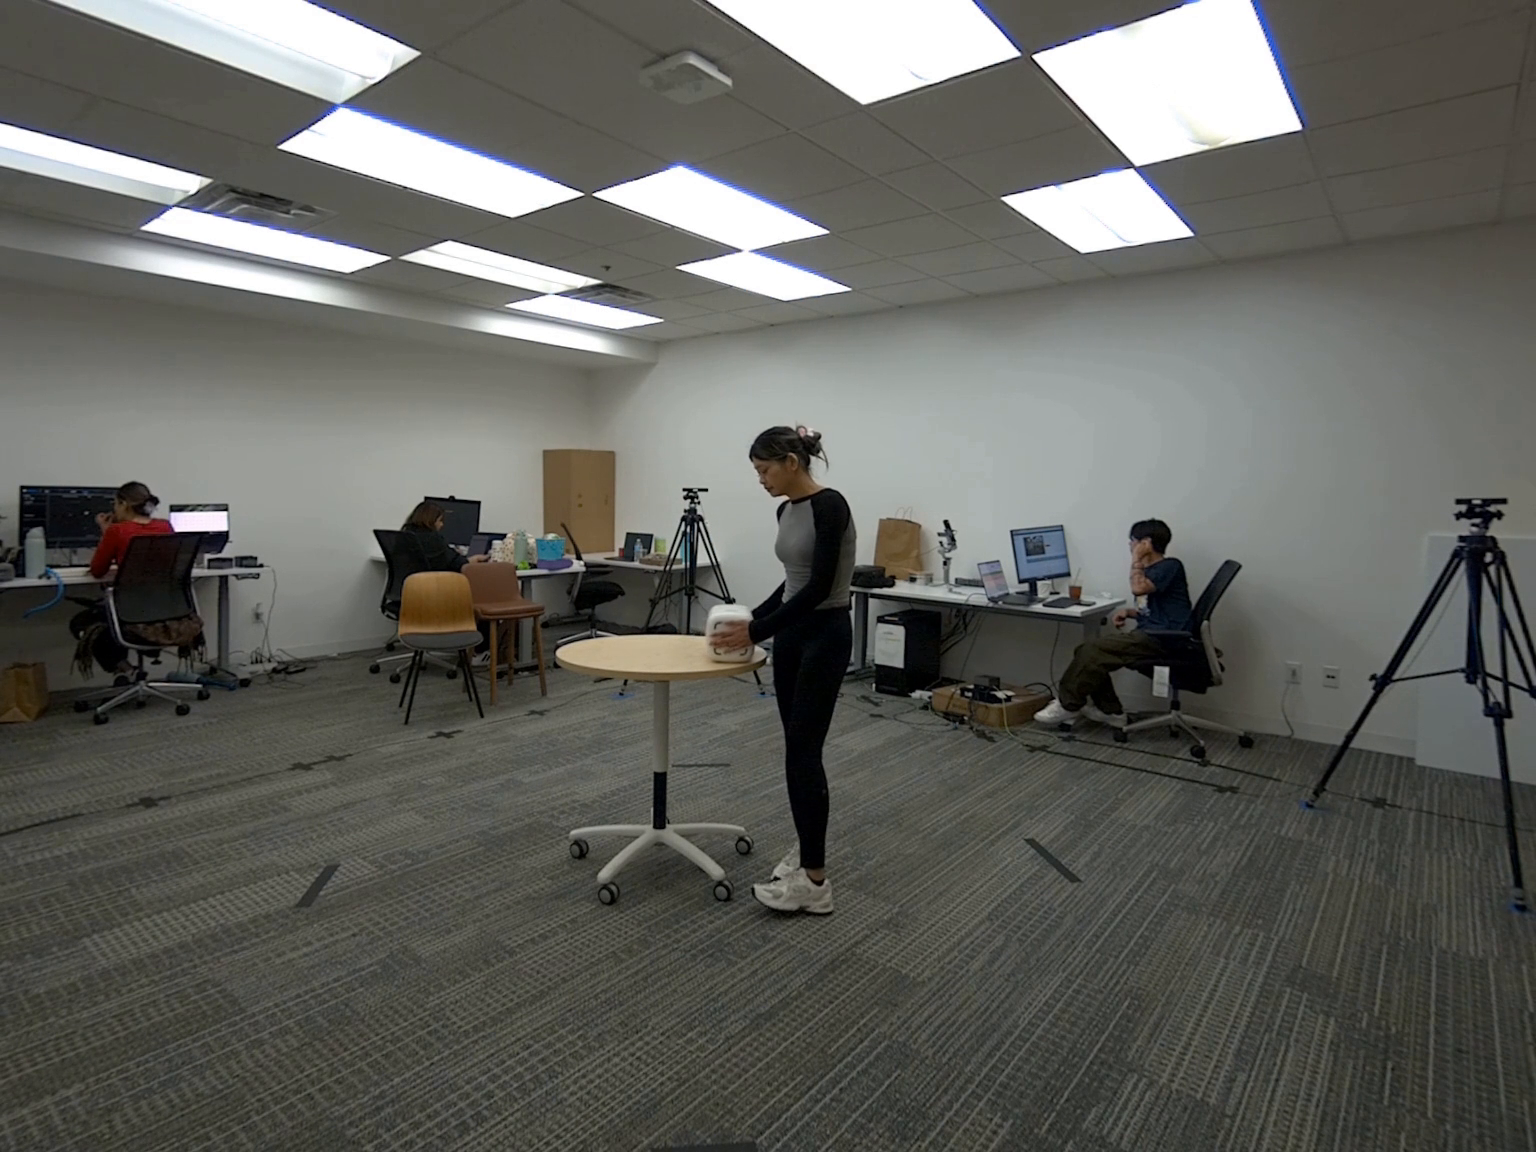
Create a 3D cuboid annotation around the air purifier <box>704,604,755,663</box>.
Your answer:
[{"bbox_3d":[-0.145,0.197,3.012,0.171,0.171,0.266,2,4,-2],"label":"air purifier"}]
